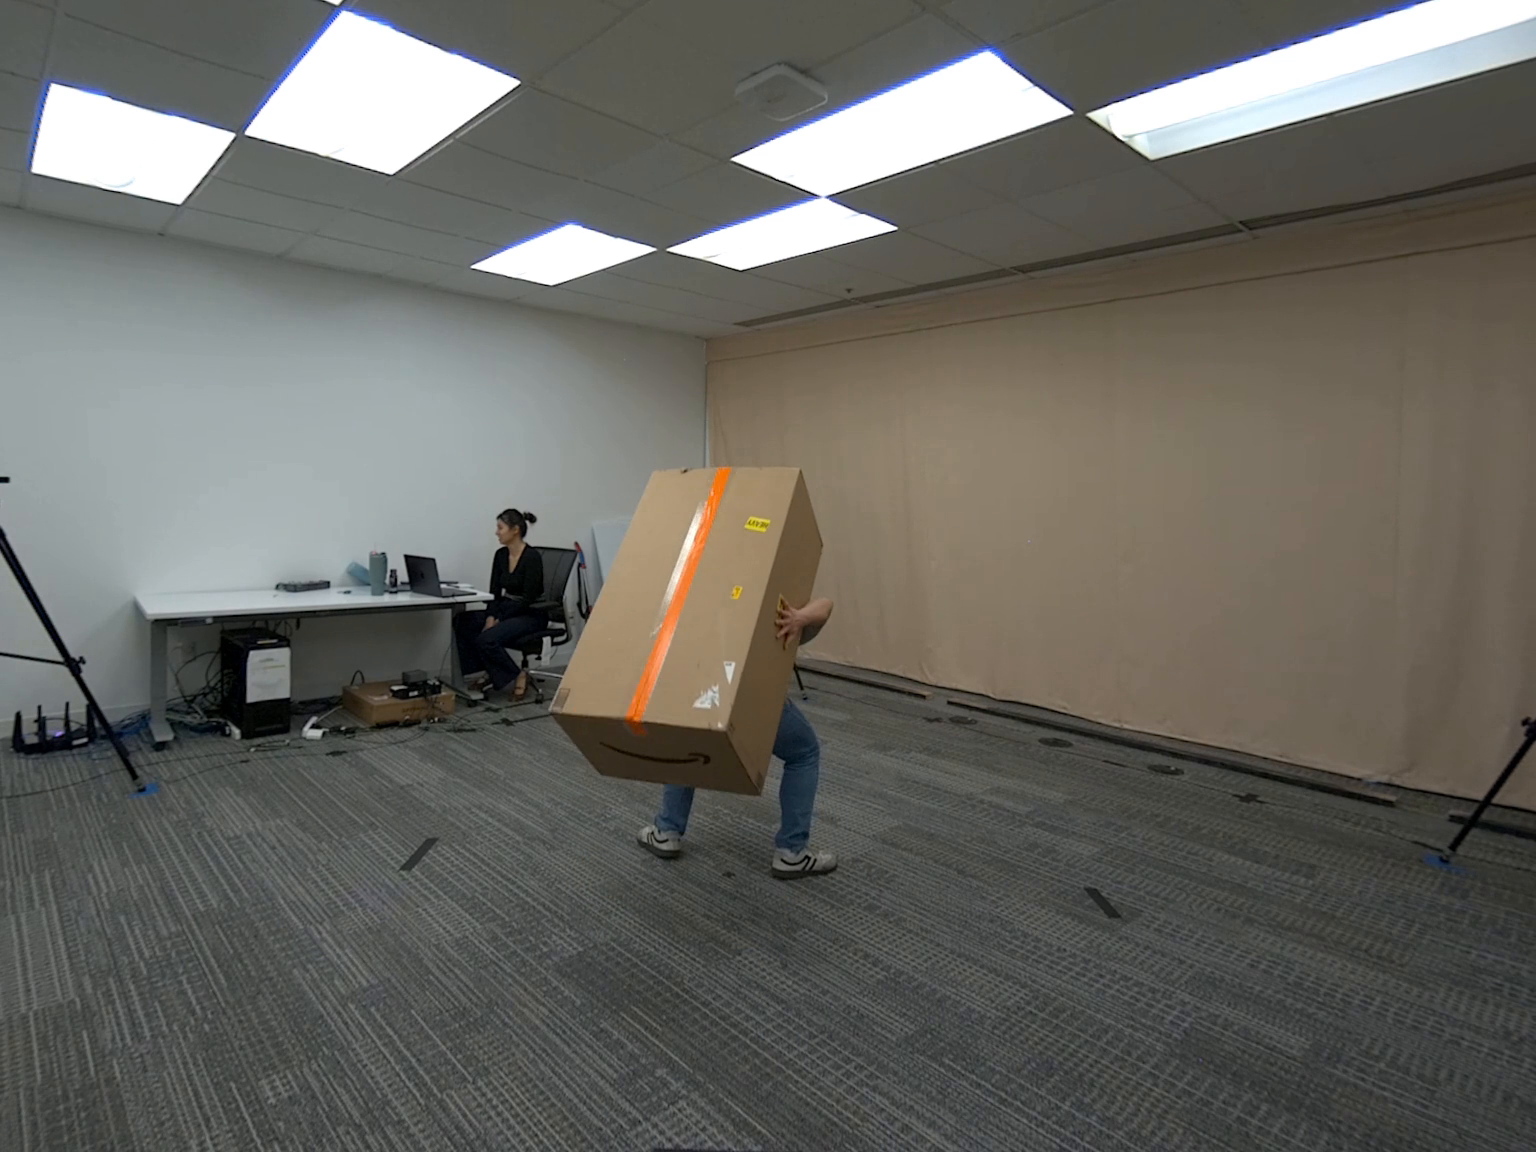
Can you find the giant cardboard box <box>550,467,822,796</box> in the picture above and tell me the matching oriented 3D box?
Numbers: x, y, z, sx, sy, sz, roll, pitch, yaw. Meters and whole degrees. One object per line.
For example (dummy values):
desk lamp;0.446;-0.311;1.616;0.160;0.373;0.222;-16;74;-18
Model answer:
giant cardboard box;-0.227;0.153;2.855;0.587;1.039;0.413;1;-38;21
